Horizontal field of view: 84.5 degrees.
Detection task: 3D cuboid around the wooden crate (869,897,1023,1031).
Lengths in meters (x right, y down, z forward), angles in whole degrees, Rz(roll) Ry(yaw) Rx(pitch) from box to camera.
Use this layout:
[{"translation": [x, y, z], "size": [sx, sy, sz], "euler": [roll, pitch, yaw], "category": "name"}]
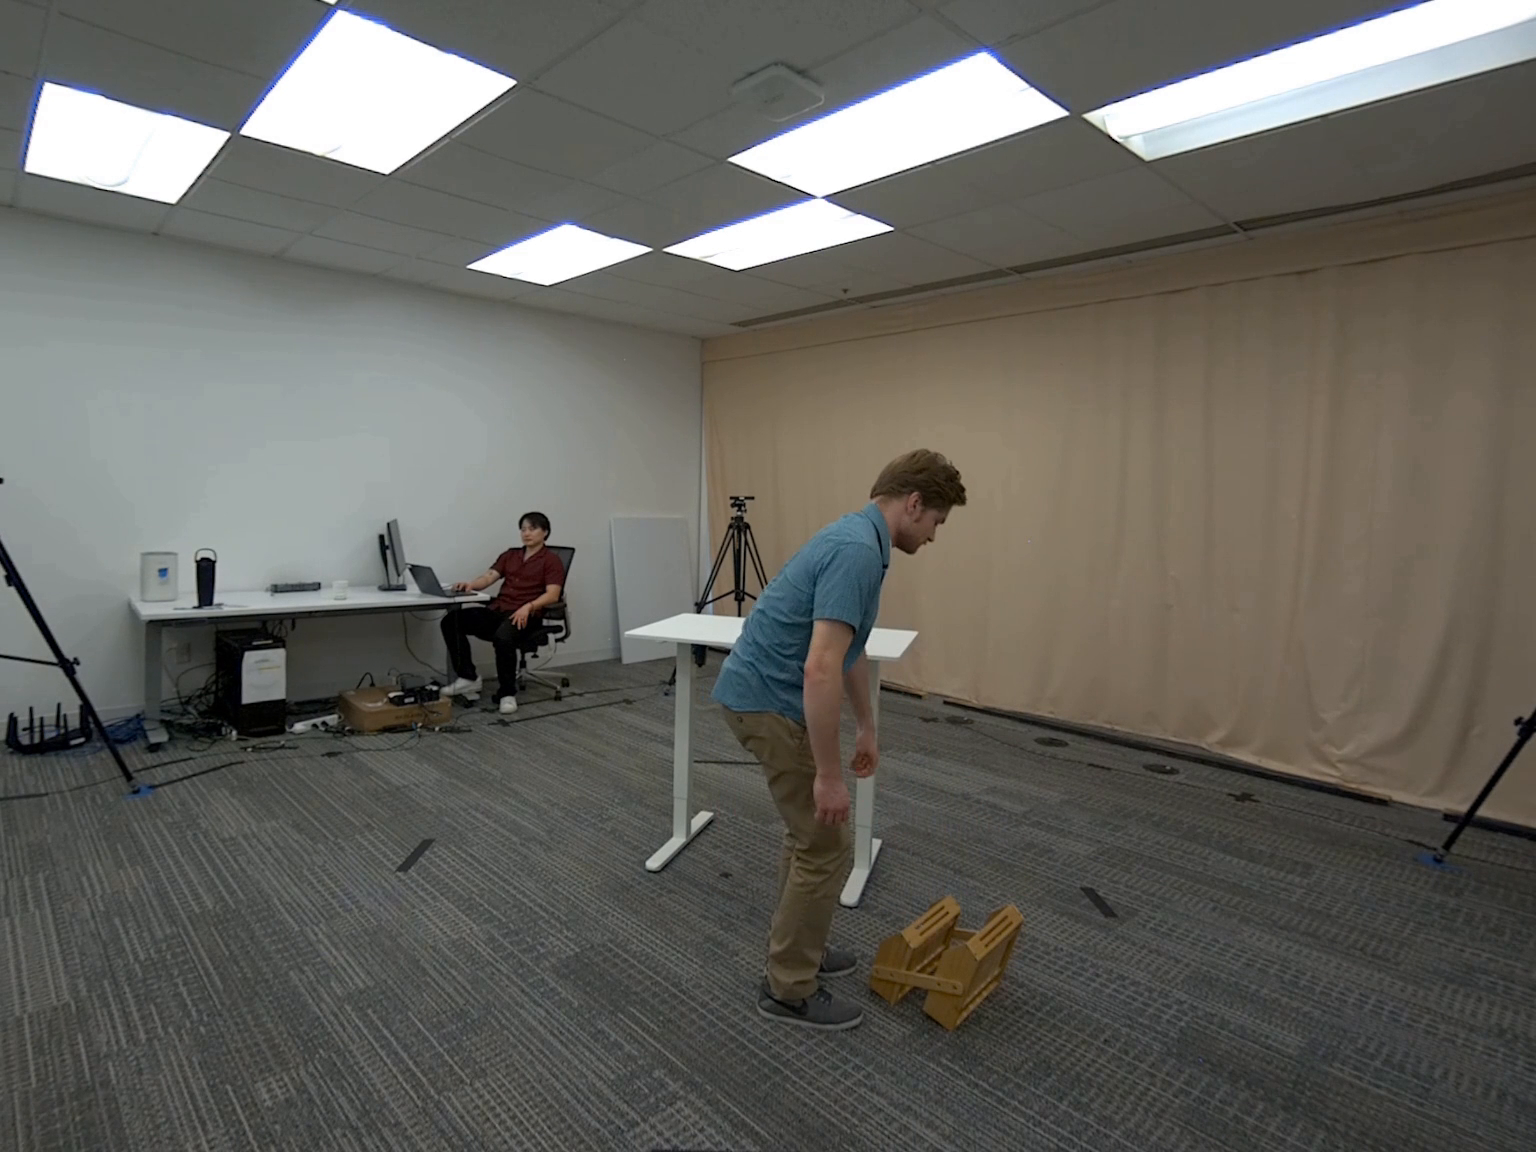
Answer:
[{"translation": [0.492, 1.052, 2.387], "size": [0.281, 0.300, 0.317], "euler": [26, 18, 35], "category": "wooden crate"}]
